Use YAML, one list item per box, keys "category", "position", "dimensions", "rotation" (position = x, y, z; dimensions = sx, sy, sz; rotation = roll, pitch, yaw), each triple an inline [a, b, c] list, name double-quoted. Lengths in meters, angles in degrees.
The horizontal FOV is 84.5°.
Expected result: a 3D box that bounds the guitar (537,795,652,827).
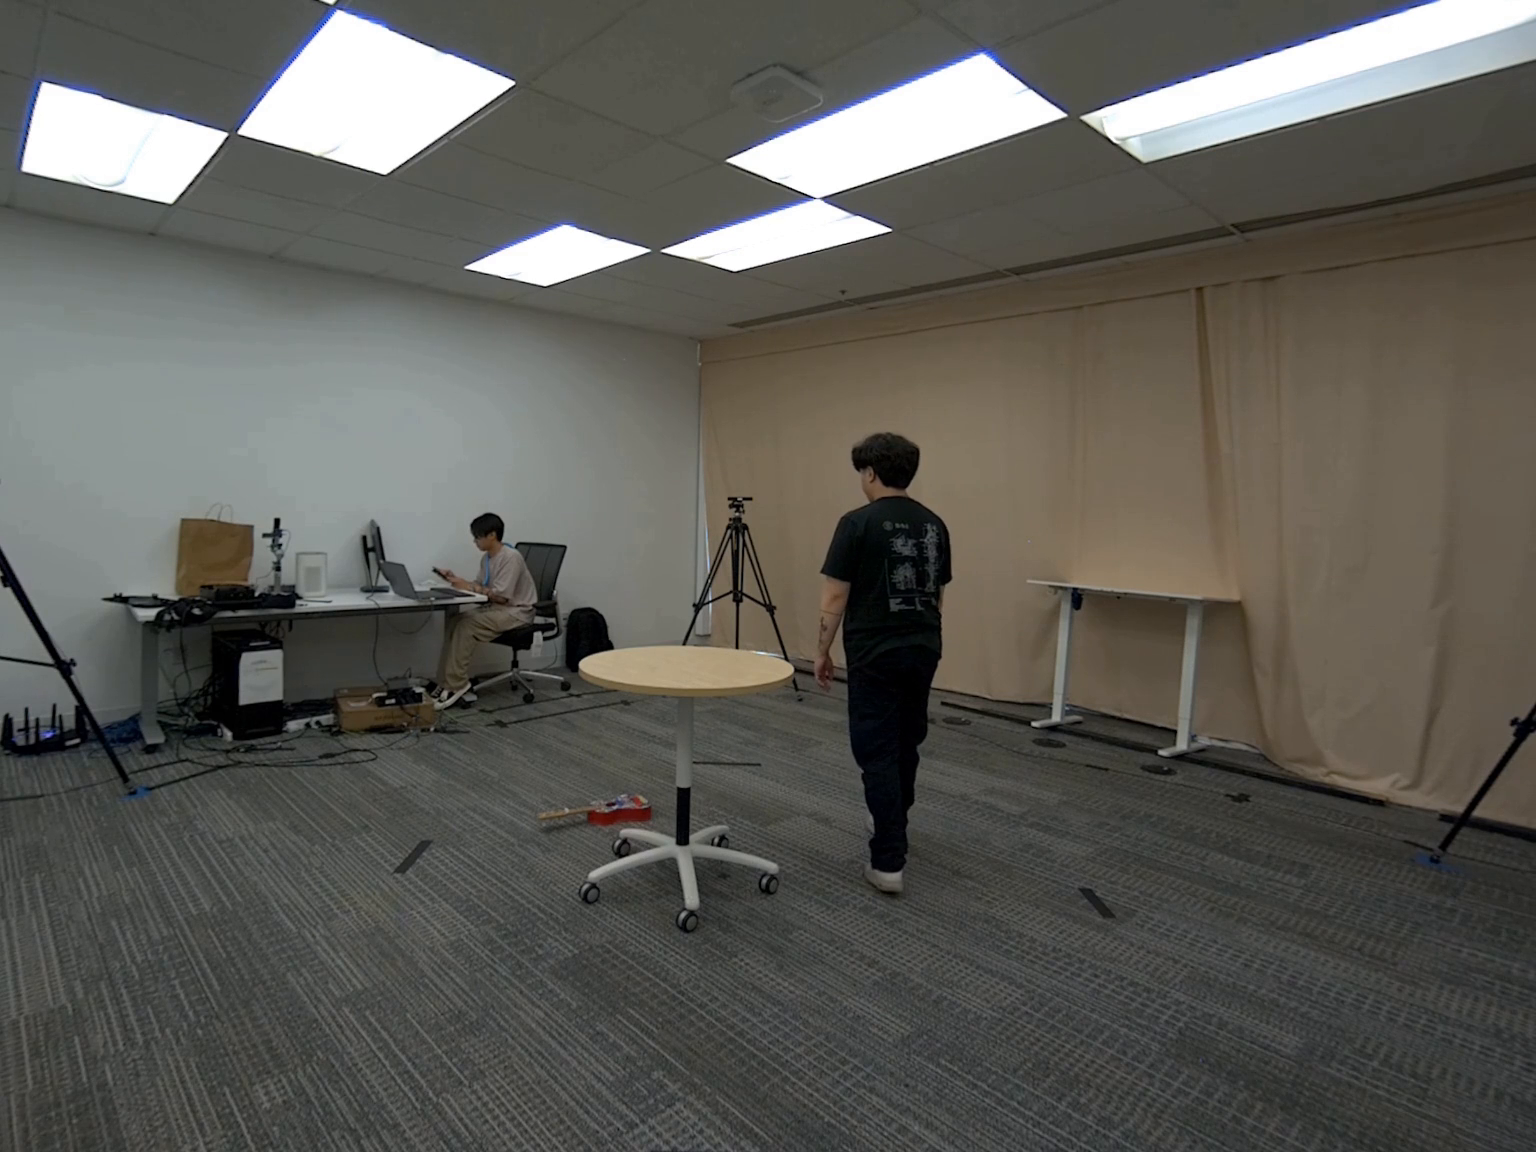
- category: "guitar"
  position: [-0.758, 1.009, 3.632]
  dimensions: [0.490, 0.070, 0.197]
  rotation: [0, 6, -22]
